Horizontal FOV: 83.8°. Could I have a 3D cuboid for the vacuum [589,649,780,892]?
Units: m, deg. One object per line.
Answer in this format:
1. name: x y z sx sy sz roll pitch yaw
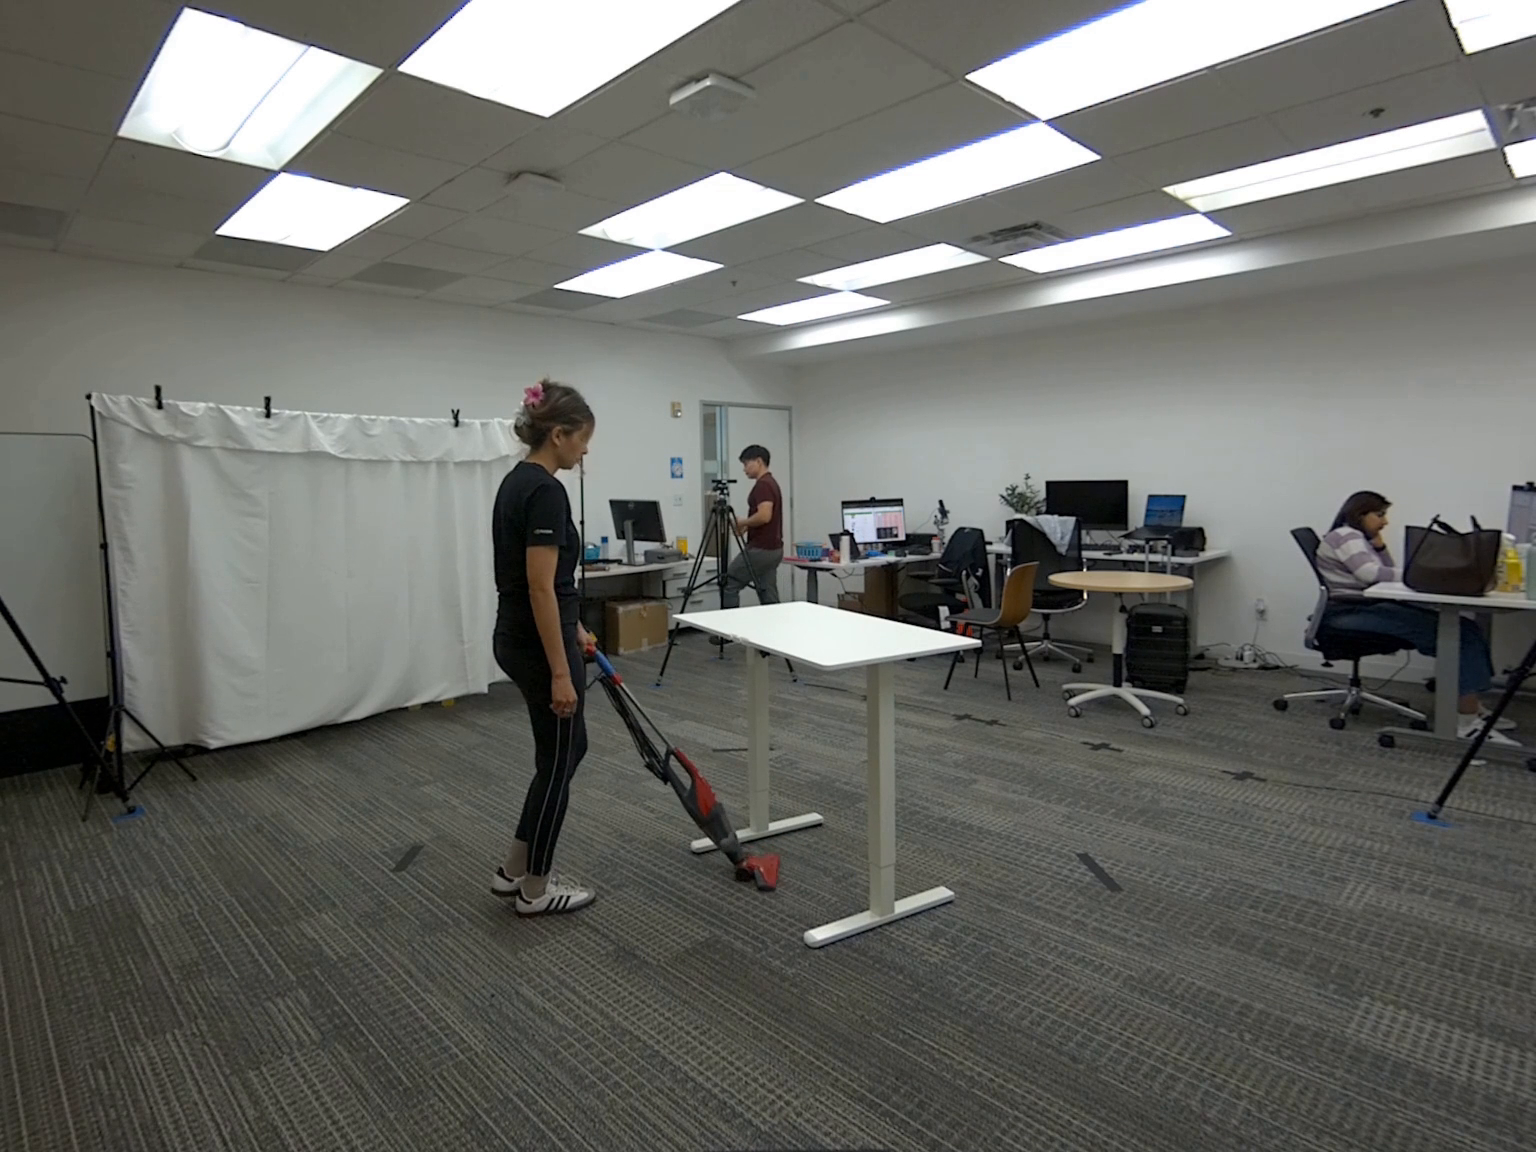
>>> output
1. vacuum: -0.367 0.642 3.046 0.144 1.053 0.251 -41 -3 11
